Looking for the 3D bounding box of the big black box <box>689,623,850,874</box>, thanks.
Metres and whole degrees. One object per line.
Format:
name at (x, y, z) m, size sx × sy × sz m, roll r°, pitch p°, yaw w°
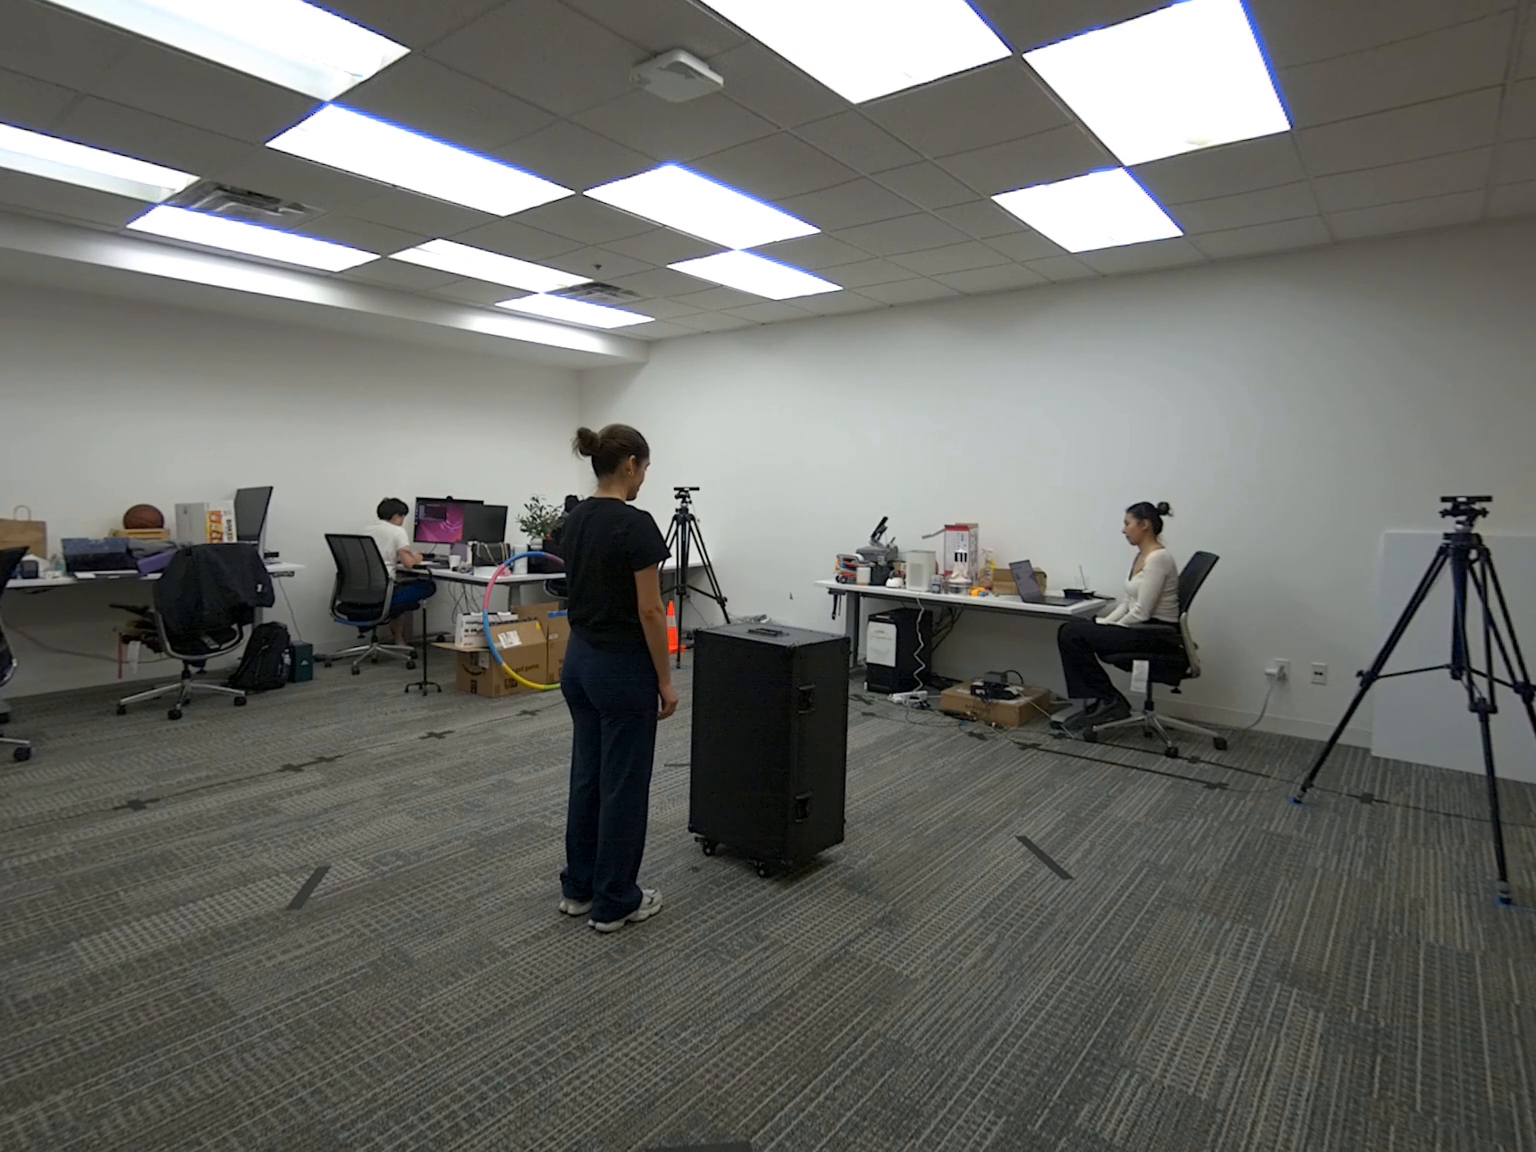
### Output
big black box at (0.017, 0.634, 3.241) m, size 0.539 × 0.860 × 0.384 m, roll 4°, pitch 3°, yaw 41°
